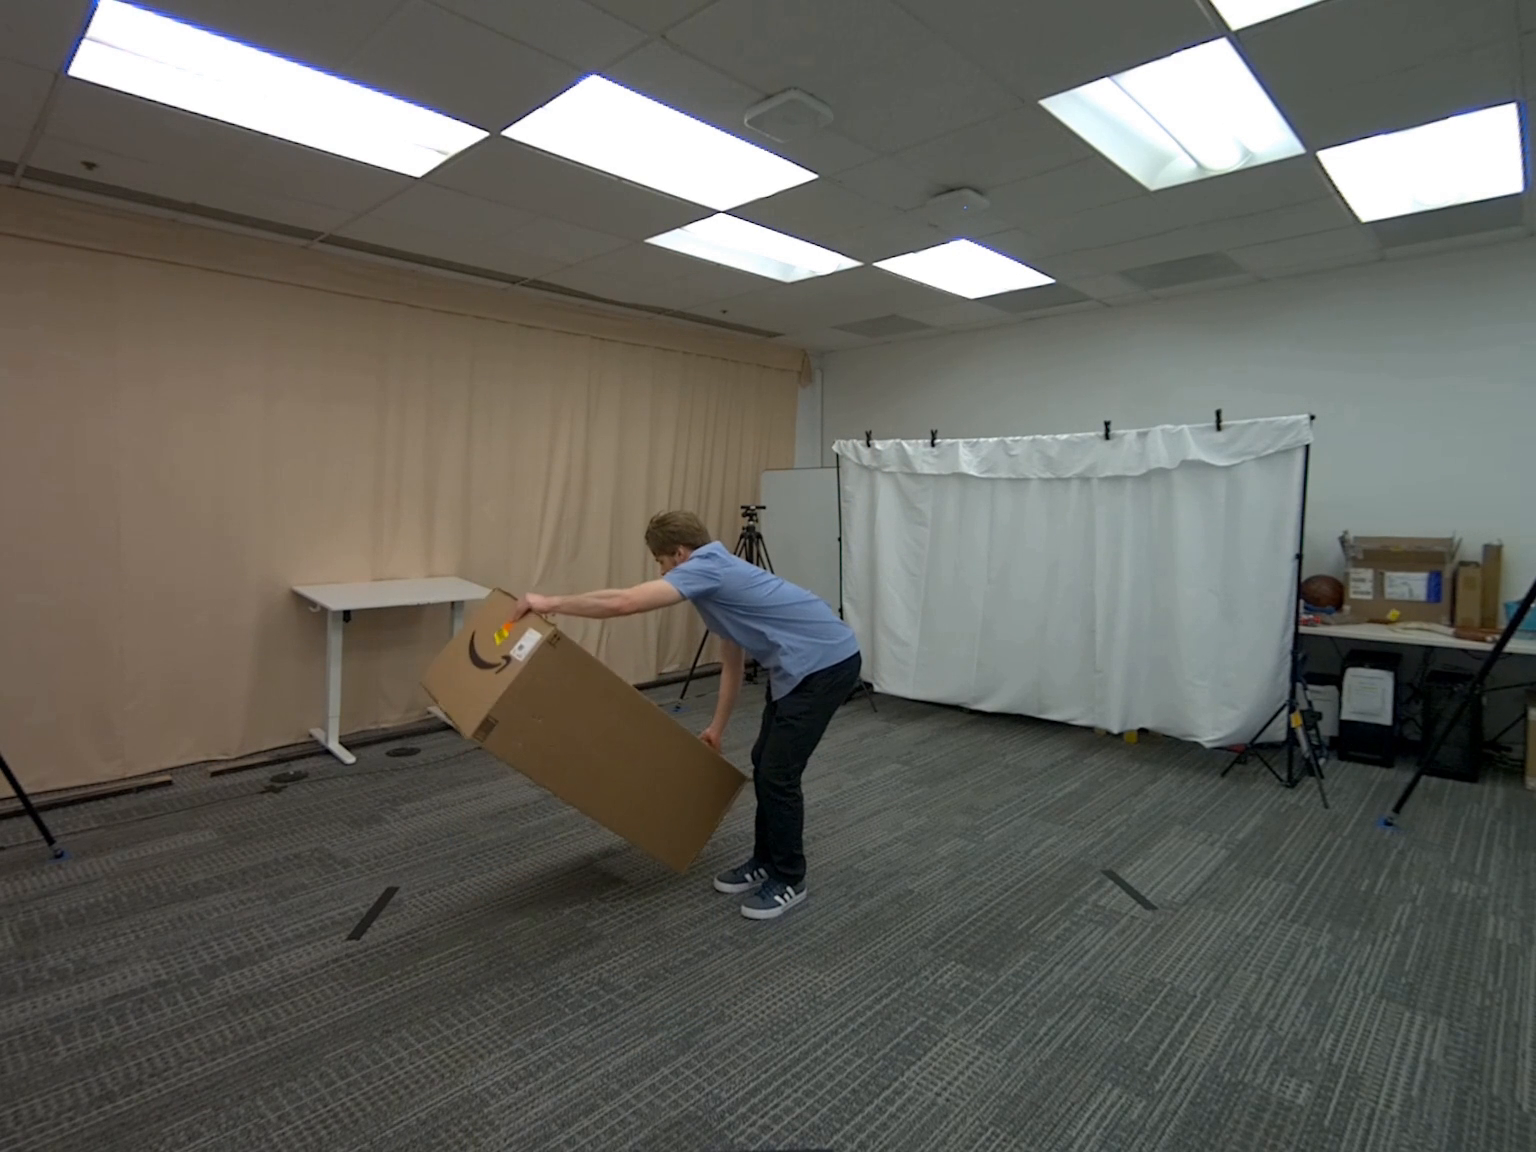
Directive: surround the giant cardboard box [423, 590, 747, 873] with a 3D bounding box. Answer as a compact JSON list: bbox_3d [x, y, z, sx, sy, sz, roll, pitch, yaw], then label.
[{"bbox_3d":[-0.641,0.562,3.021,0.994,0.446,0.604,47,-15,-33],"label":"giant cardboard box"}]
